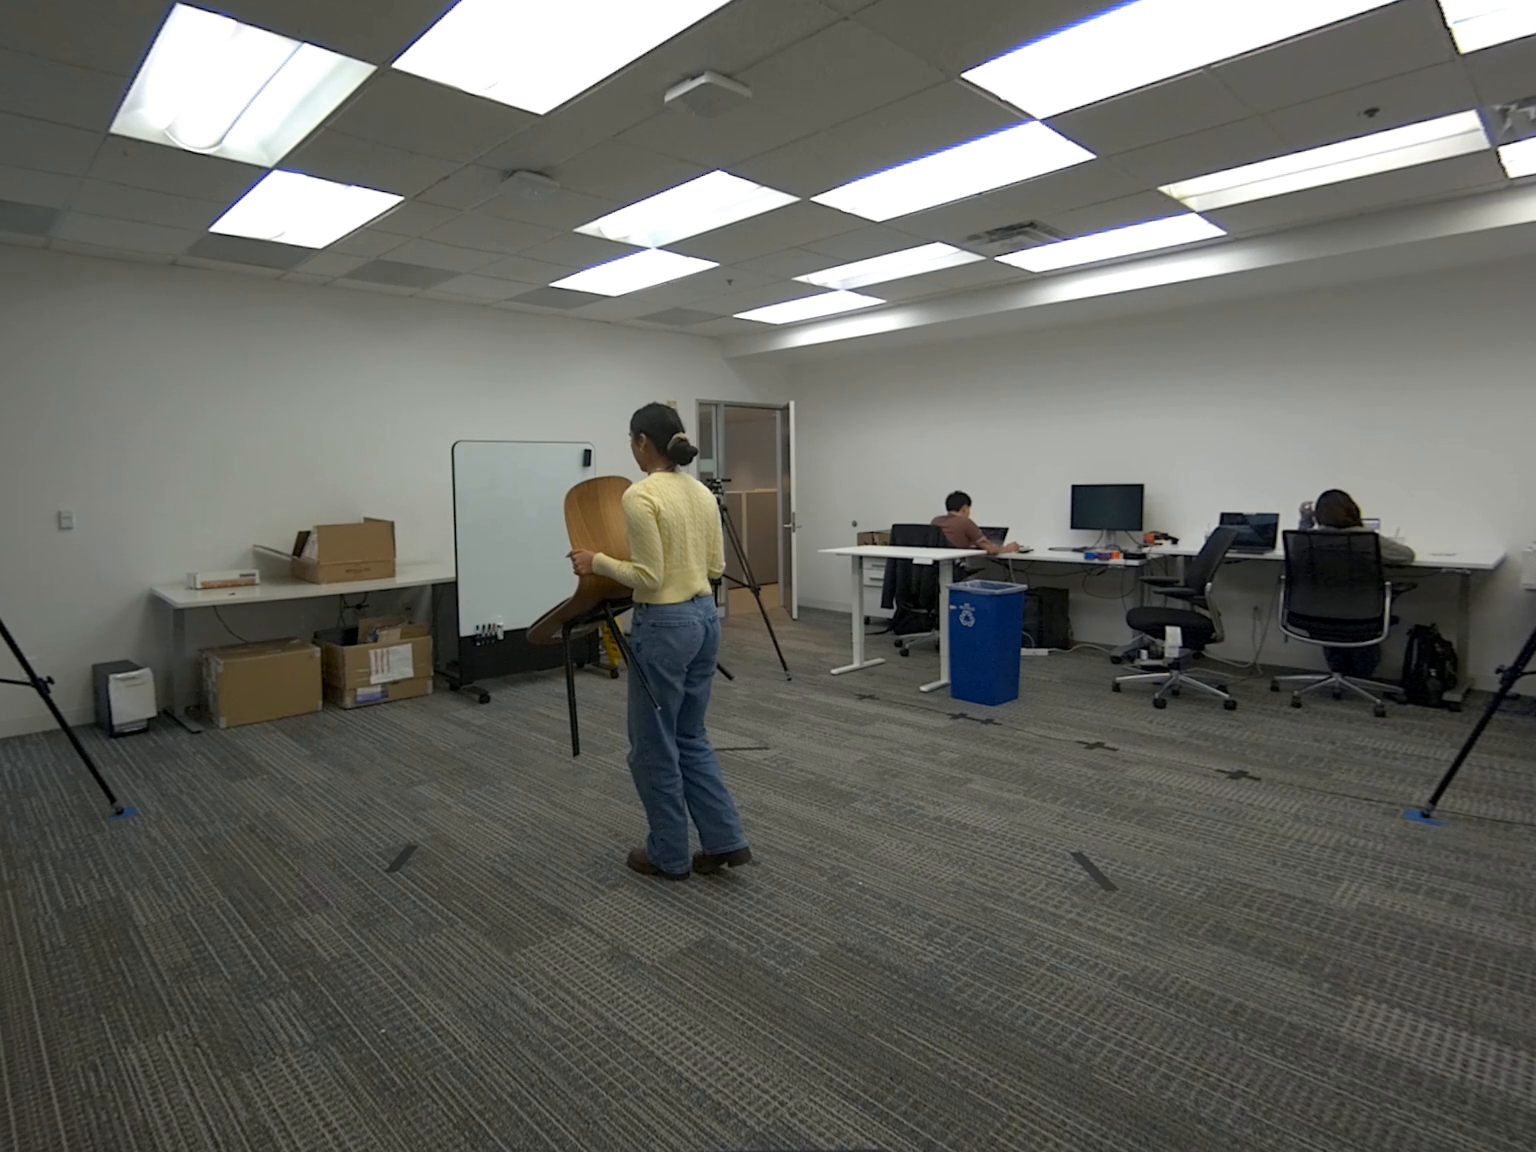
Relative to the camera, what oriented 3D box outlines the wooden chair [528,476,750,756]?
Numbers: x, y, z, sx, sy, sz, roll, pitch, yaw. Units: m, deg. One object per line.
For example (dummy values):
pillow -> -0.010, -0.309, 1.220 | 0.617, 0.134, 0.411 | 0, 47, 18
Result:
wooden chair -> -0.597, 0.139, 3.163 | 0.528, 0.888, 0.467 | -30, -11, 33
